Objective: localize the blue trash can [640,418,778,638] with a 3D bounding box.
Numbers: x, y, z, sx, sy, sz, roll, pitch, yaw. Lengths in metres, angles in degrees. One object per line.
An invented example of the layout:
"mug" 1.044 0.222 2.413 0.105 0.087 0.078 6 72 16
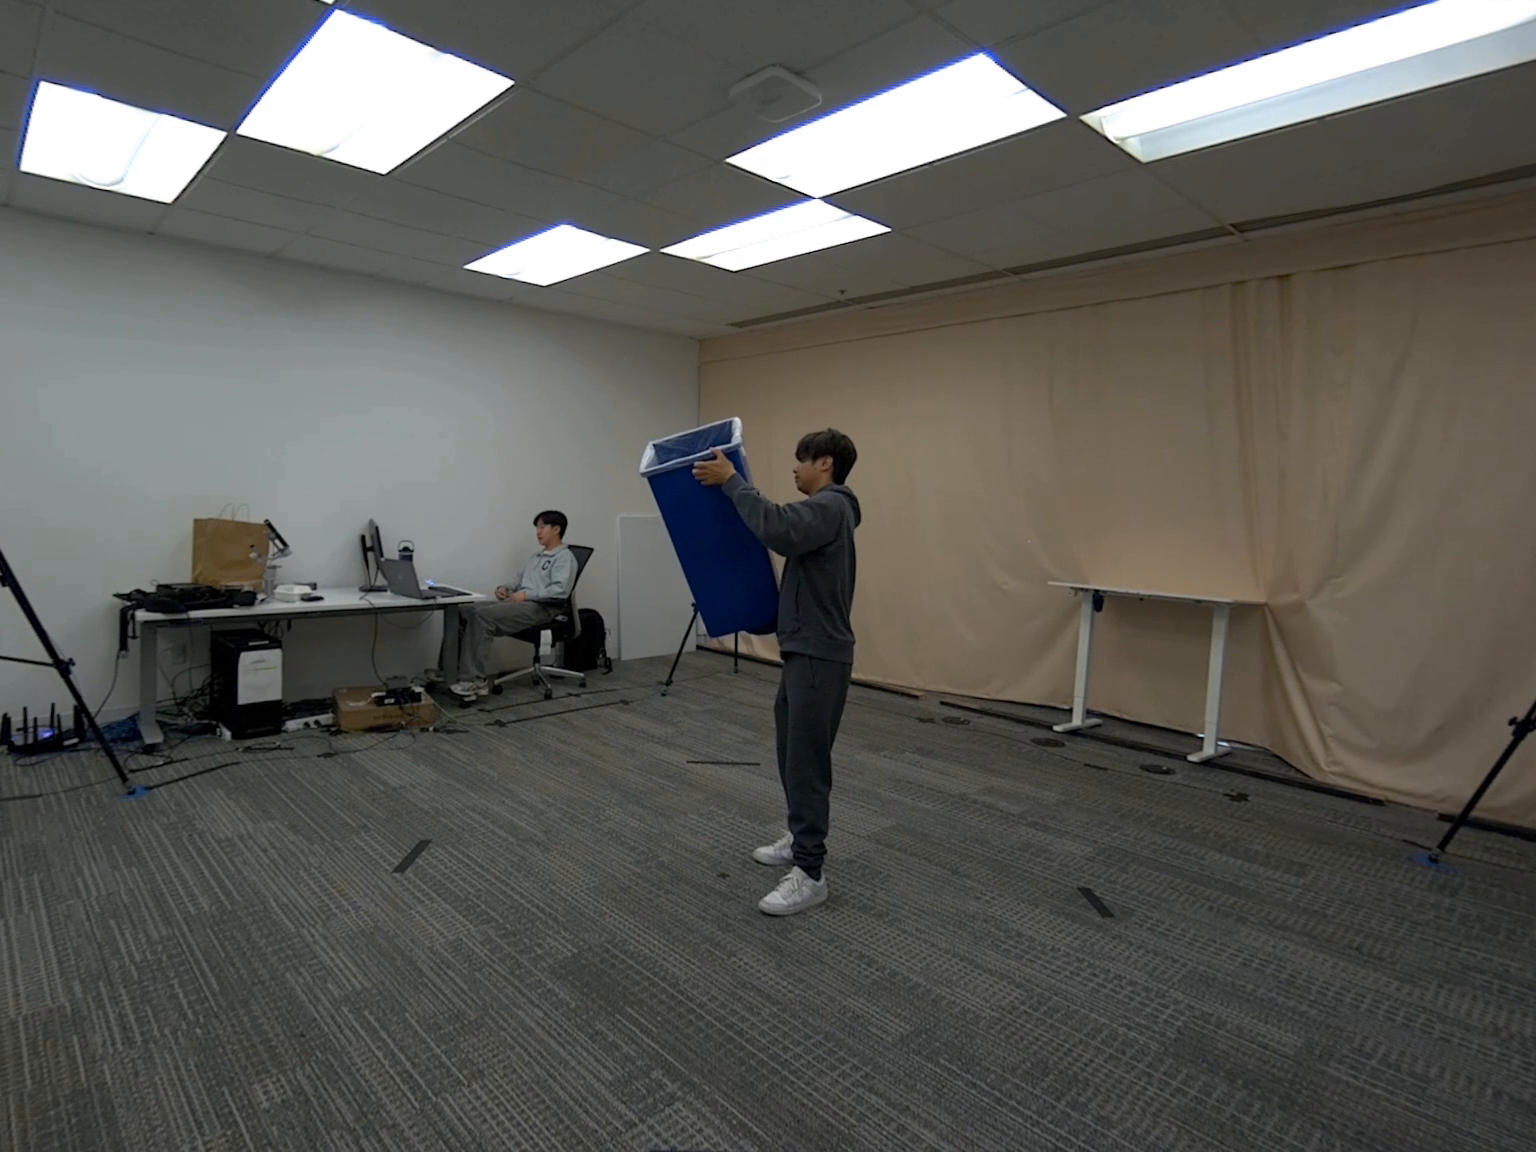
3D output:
"blue trash can" -0.190 -0.175 3.163 0.375 0.700 0.384 -14 22 6
